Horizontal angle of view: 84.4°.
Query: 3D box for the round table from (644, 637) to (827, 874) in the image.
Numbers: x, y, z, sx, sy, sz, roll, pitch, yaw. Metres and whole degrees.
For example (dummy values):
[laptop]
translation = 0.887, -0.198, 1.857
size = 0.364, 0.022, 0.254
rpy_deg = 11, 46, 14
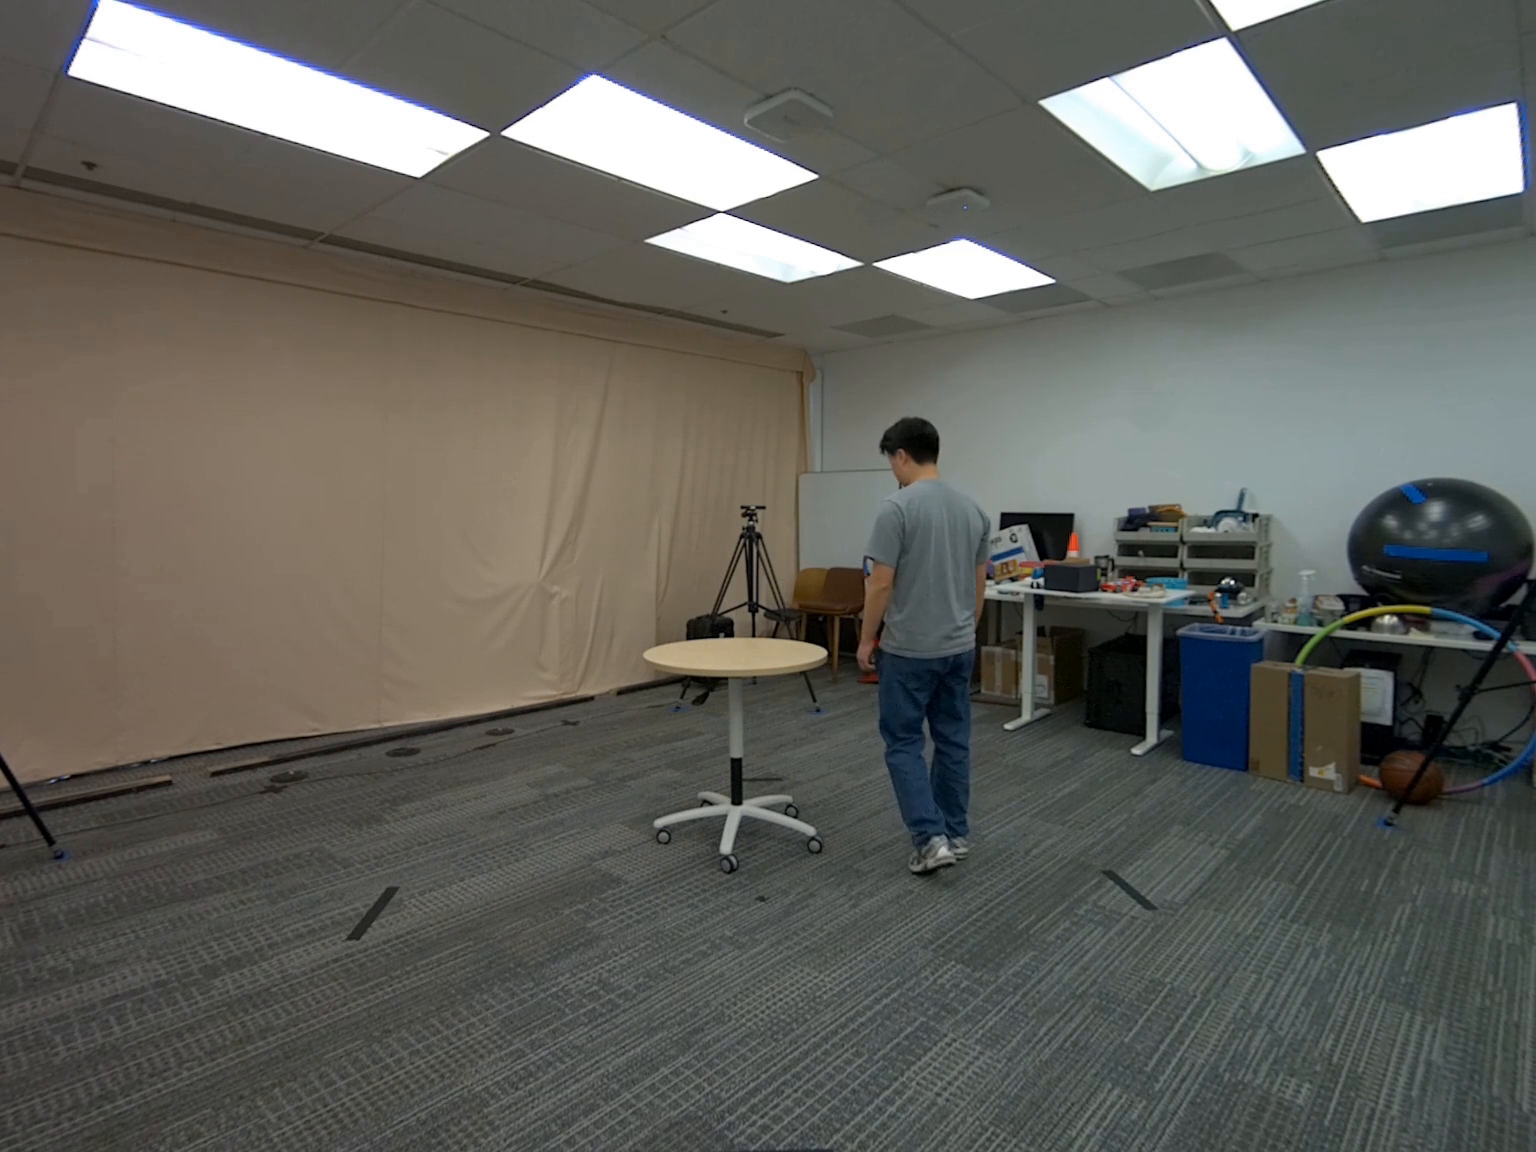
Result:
[round table]
translation = -0.131, 0.713, 3.527
size = 0.763, 0.792, 0.766
rpy_deg = -1, 3, -2
